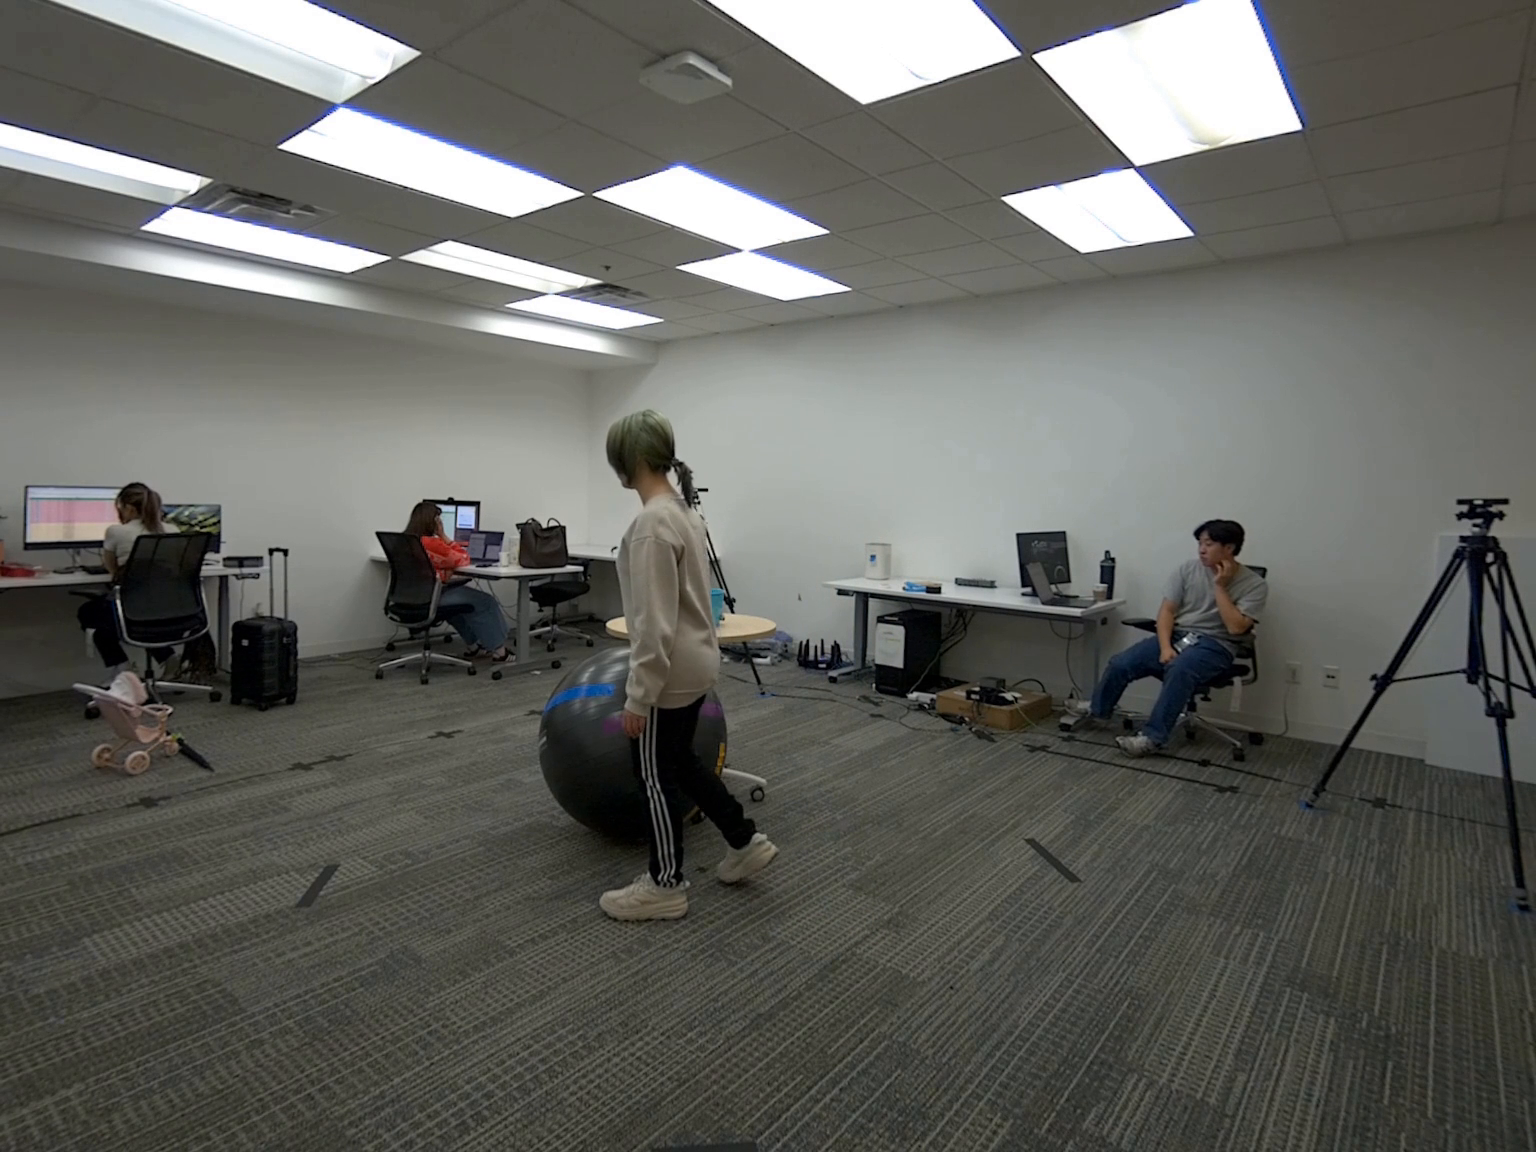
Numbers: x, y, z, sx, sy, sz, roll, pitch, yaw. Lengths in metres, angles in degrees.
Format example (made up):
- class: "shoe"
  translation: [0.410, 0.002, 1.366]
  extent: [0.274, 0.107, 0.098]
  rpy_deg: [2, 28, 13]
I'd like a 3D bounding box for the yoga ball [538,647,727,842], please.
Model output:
- class: "yoga ball"
  translation: [-0.567, 0.667, 3.451]
  extent: [0.757, 0.756, 0.762]
  rpy_deg: [1, 4, -2]
